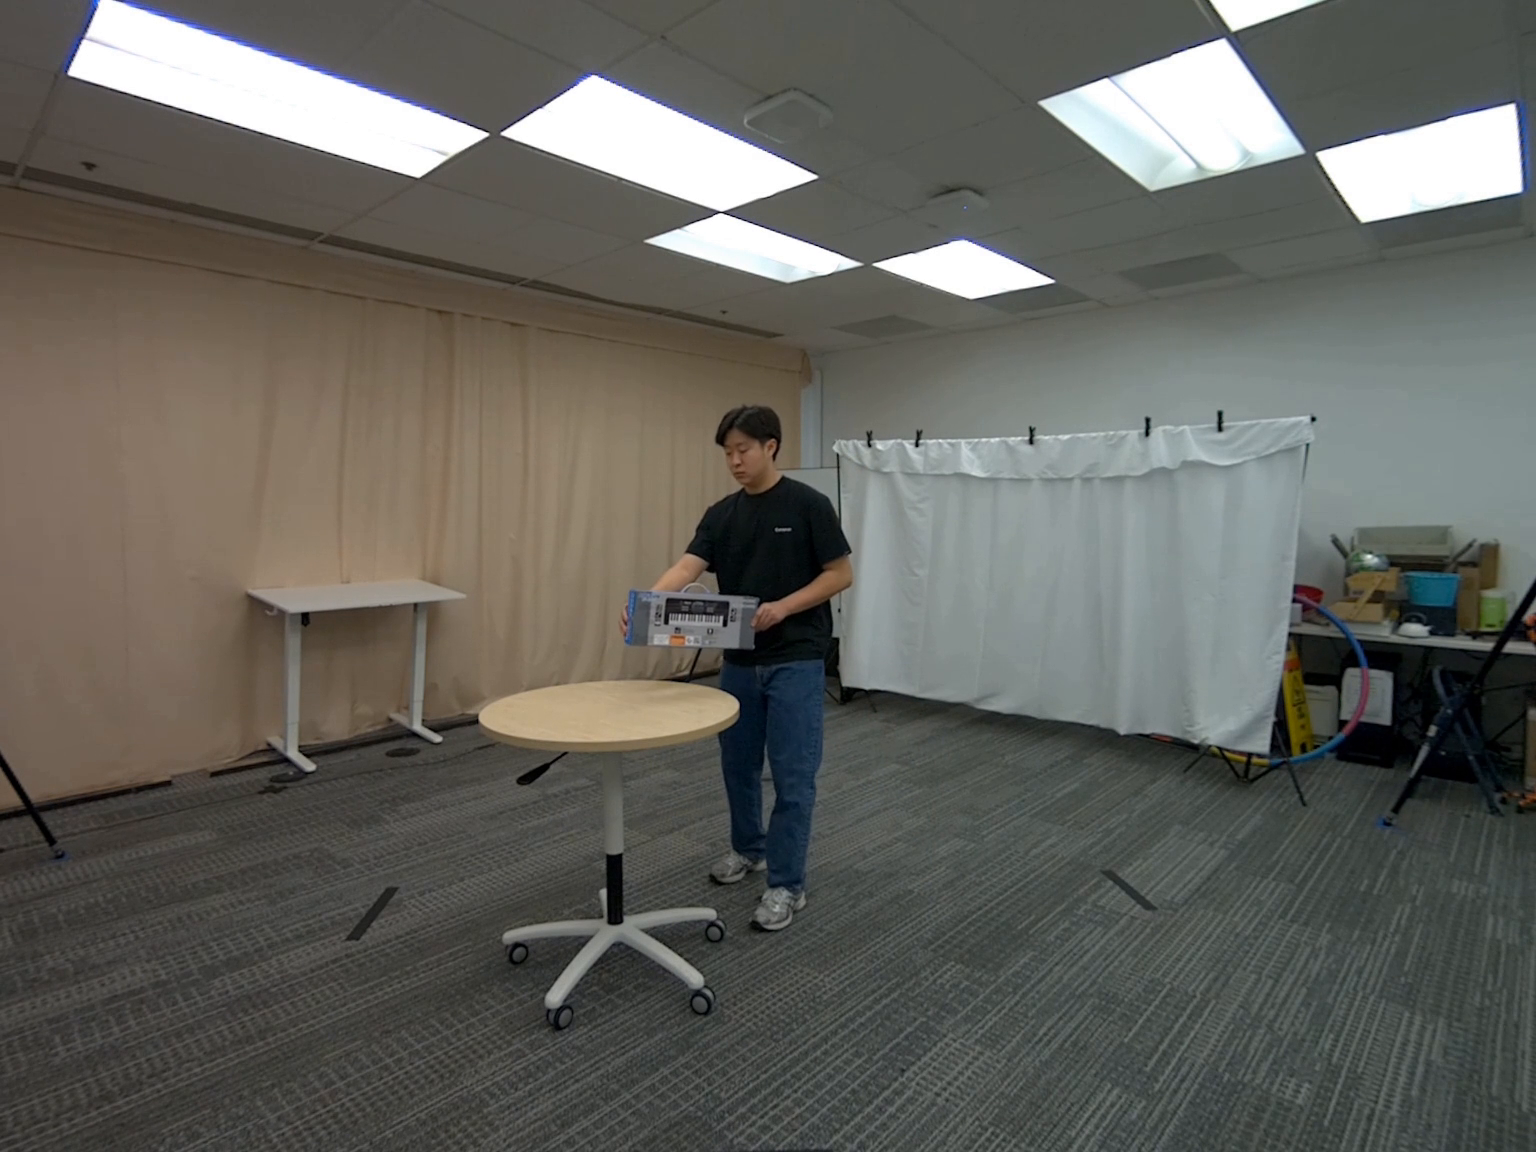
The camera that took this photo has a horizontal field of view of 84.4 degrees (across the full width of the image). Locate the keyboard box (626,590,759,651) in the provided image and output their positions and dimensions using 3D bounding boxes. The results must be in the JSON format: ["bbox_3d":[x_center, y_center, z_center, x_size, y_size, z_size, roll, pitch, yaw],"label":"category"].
[{"bbox_3d":[-0.248,0.145,2.717,0.425,0.176,0.061,5,1,-26],"label":"keyboard box"}]
